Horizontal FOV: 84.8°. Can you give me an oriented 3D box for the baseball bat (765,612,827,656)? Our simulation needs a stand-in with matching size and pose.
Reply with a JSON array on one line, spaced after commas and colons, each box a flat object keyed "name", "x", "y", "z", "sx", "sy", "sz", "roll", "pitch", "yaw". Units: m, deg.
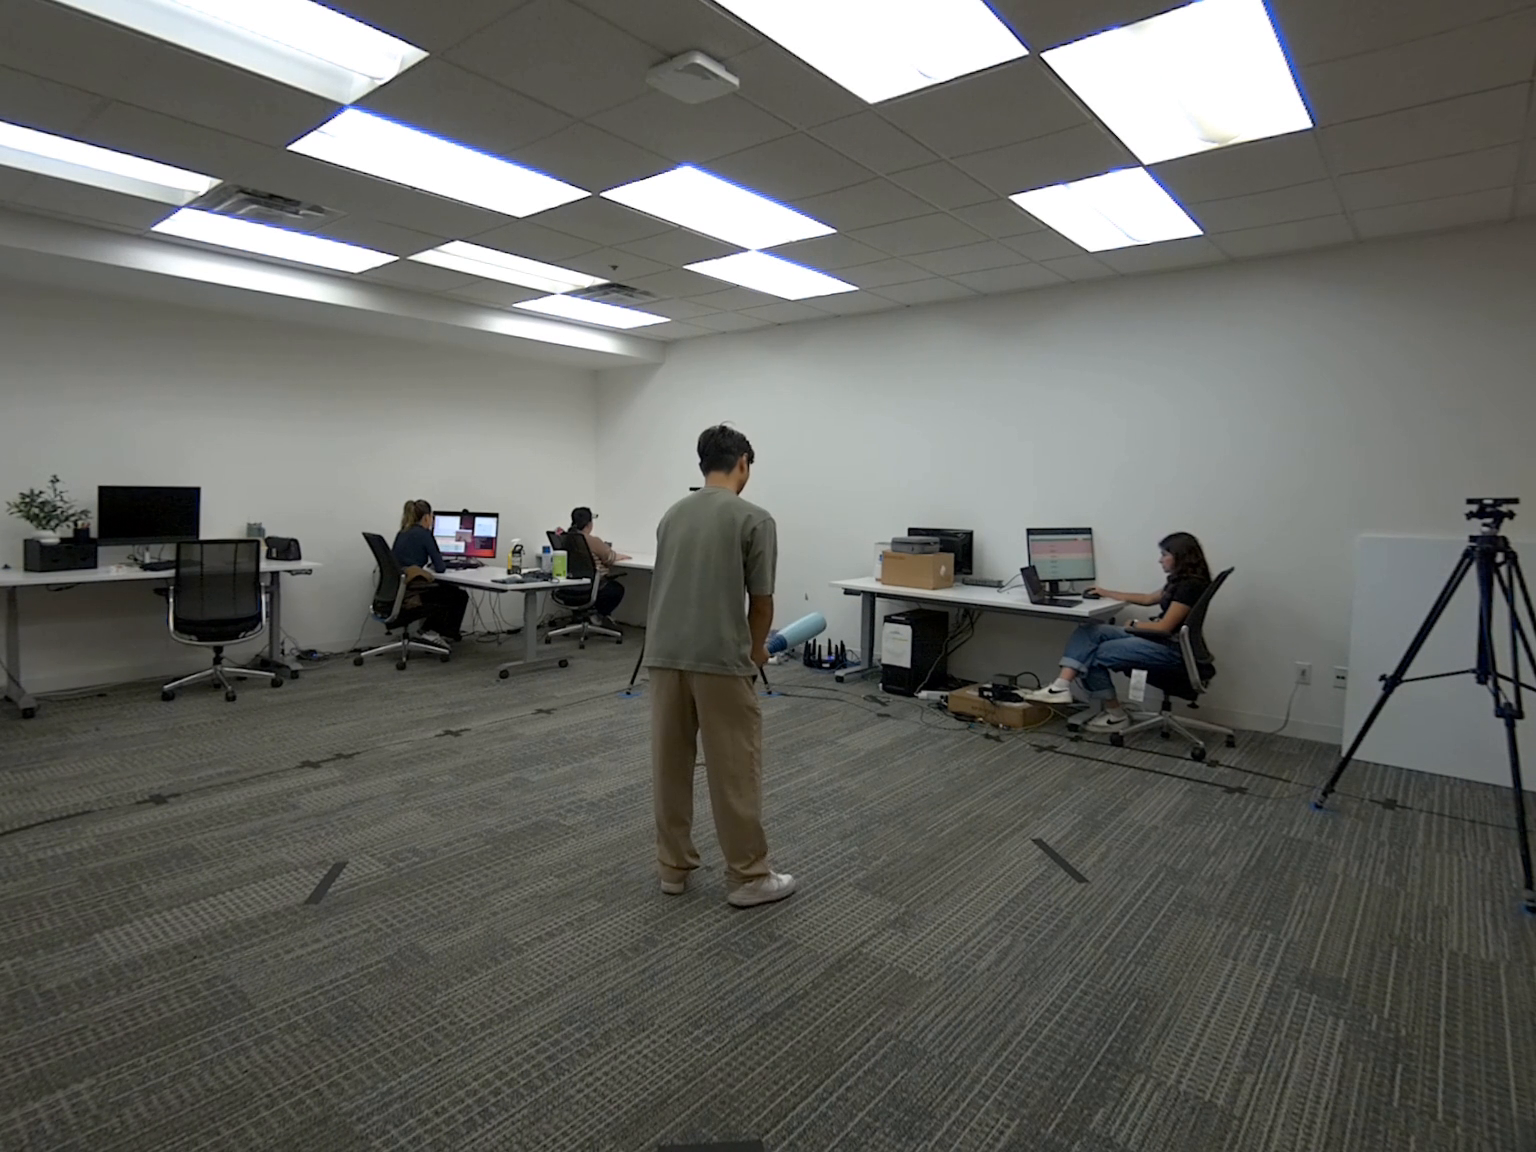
[{"name": "baseball bat", "x": 0.037, "y": 0.277, "z": 3.214, "sx": 0.092, "sy": 0.087, "sz": 0.533, "roll": 5, "pitch": 22, "yaw": 43}]
